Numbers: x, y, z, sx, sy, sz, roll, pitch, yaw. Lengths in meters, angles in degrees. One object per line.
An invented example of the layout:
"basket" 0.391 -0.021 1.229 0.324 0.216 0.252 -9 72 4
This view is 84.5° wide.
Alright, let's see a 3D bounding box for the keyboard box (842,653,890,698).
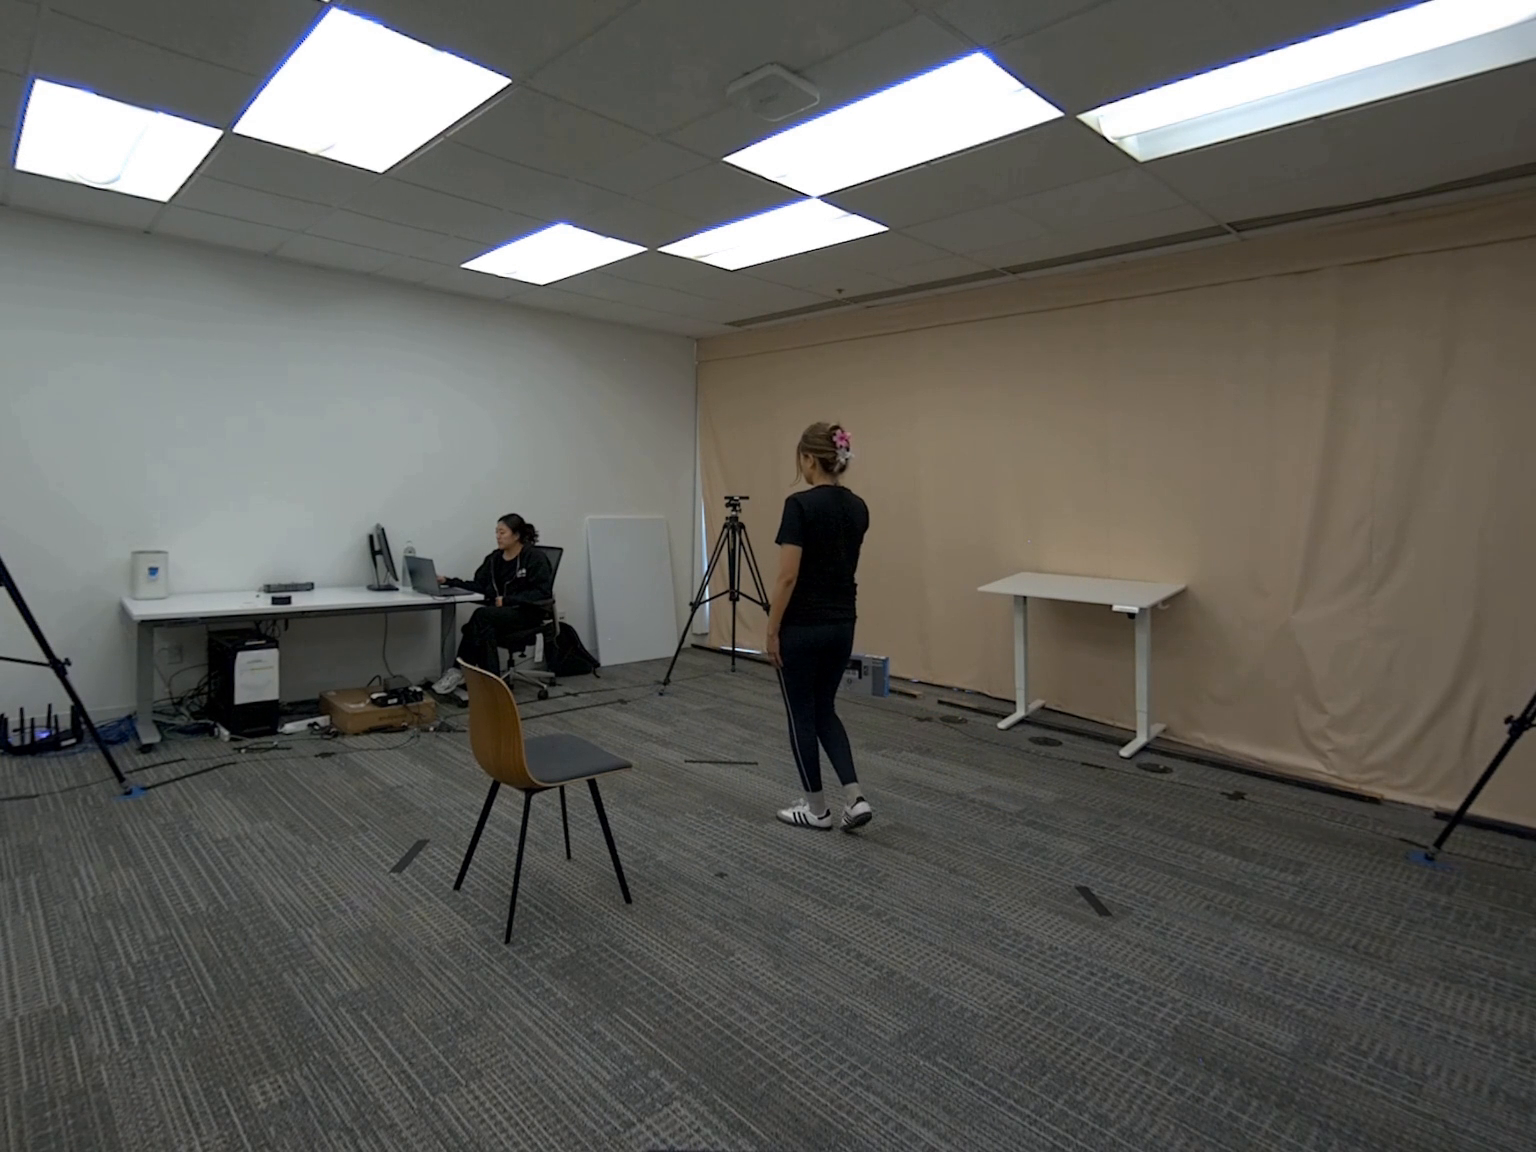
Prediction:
"keyboard box" 0.326 0.434 3.824 0.447 0.175 0.058 4 7 31
